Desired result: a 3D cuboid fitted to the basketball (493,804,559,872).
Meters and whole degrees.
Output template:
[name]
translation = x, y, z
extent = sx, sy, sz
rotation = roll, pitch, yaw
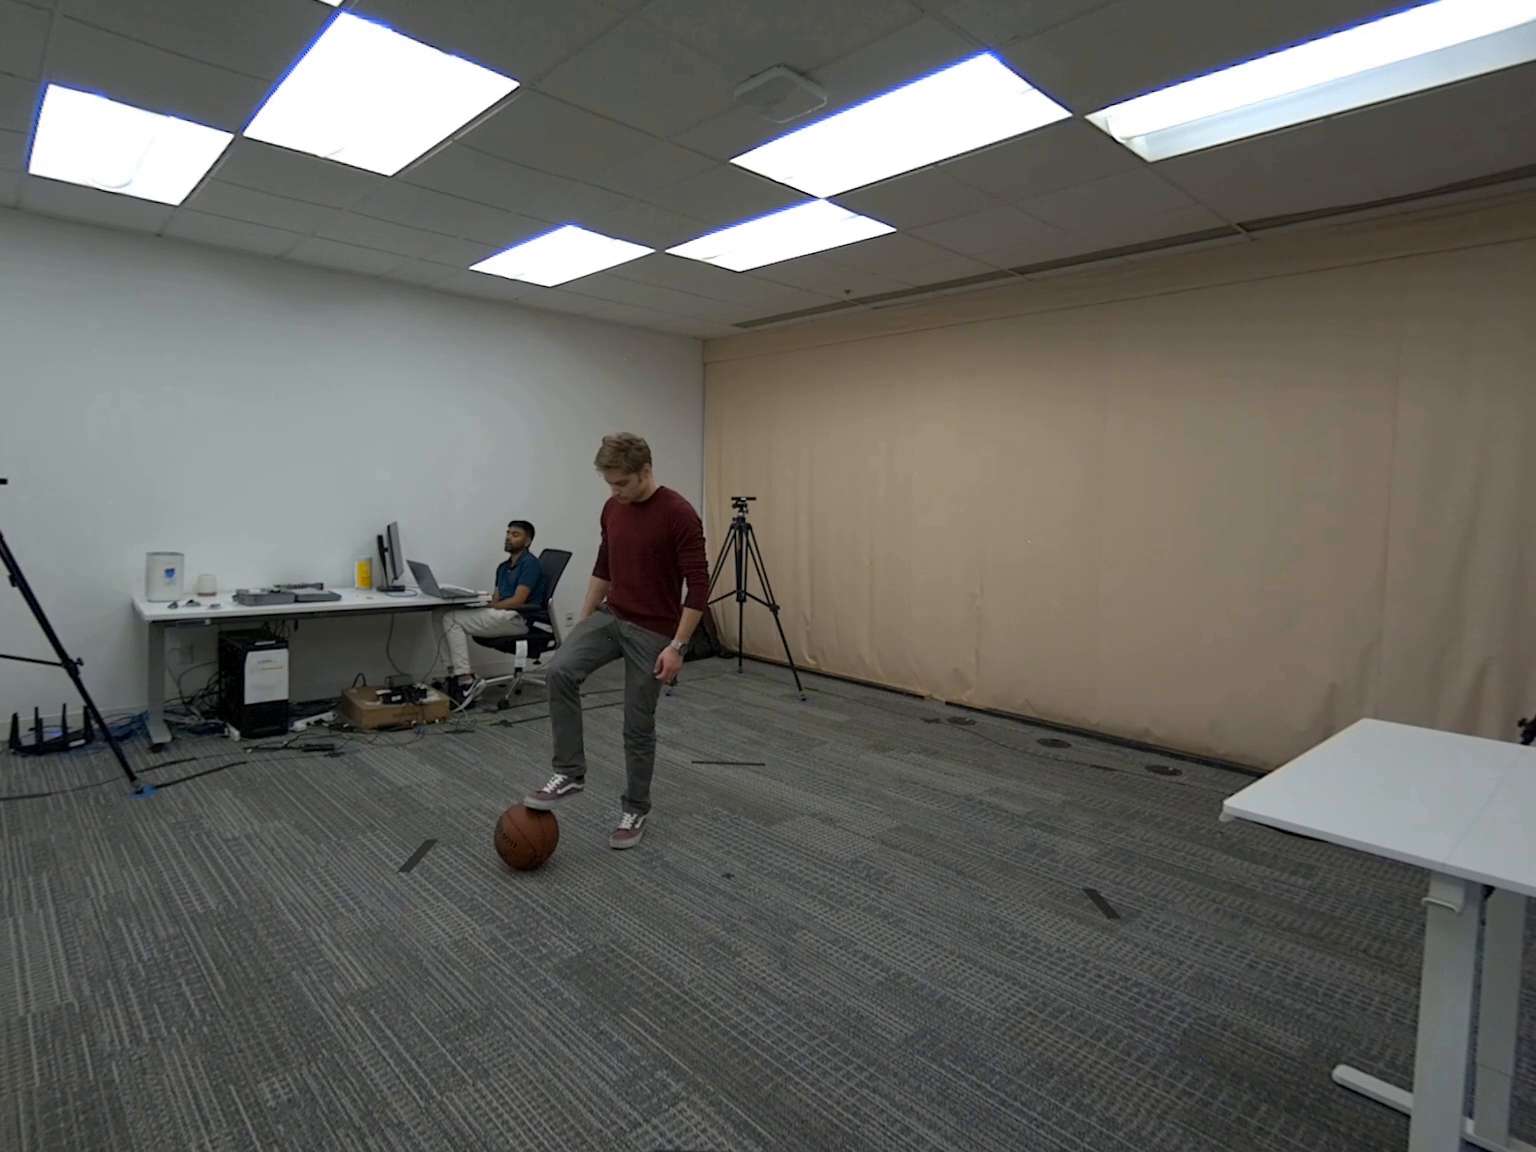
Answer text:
[basketball]
translation = -0.910, 0.970, 3.143
extent = 0.236, 0.235, 0.237
rotation = 1, 4, -1
